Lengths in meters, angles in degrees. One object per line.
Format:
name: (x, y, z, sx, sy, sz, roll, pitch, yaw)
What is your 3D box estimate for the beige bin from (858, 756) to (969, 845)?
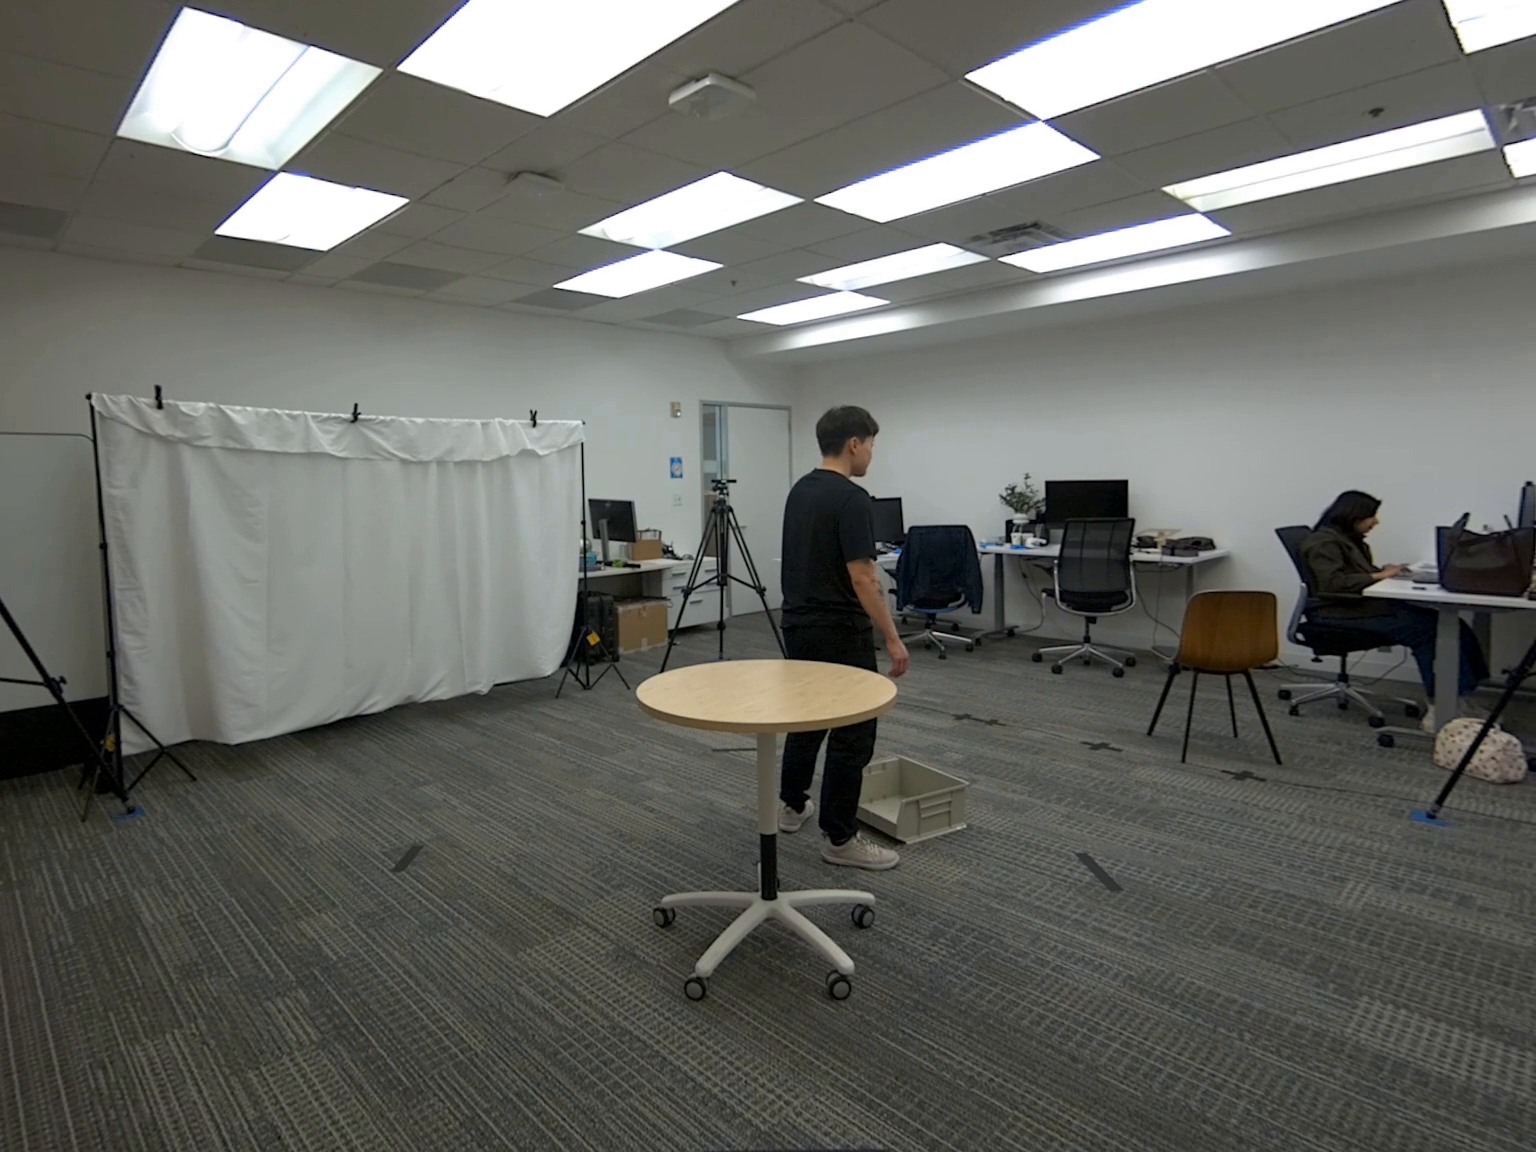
beige bin: (0.526, 0.903, 3.483, 0.368, 0.188, 0.434, -4, 6, -31)
